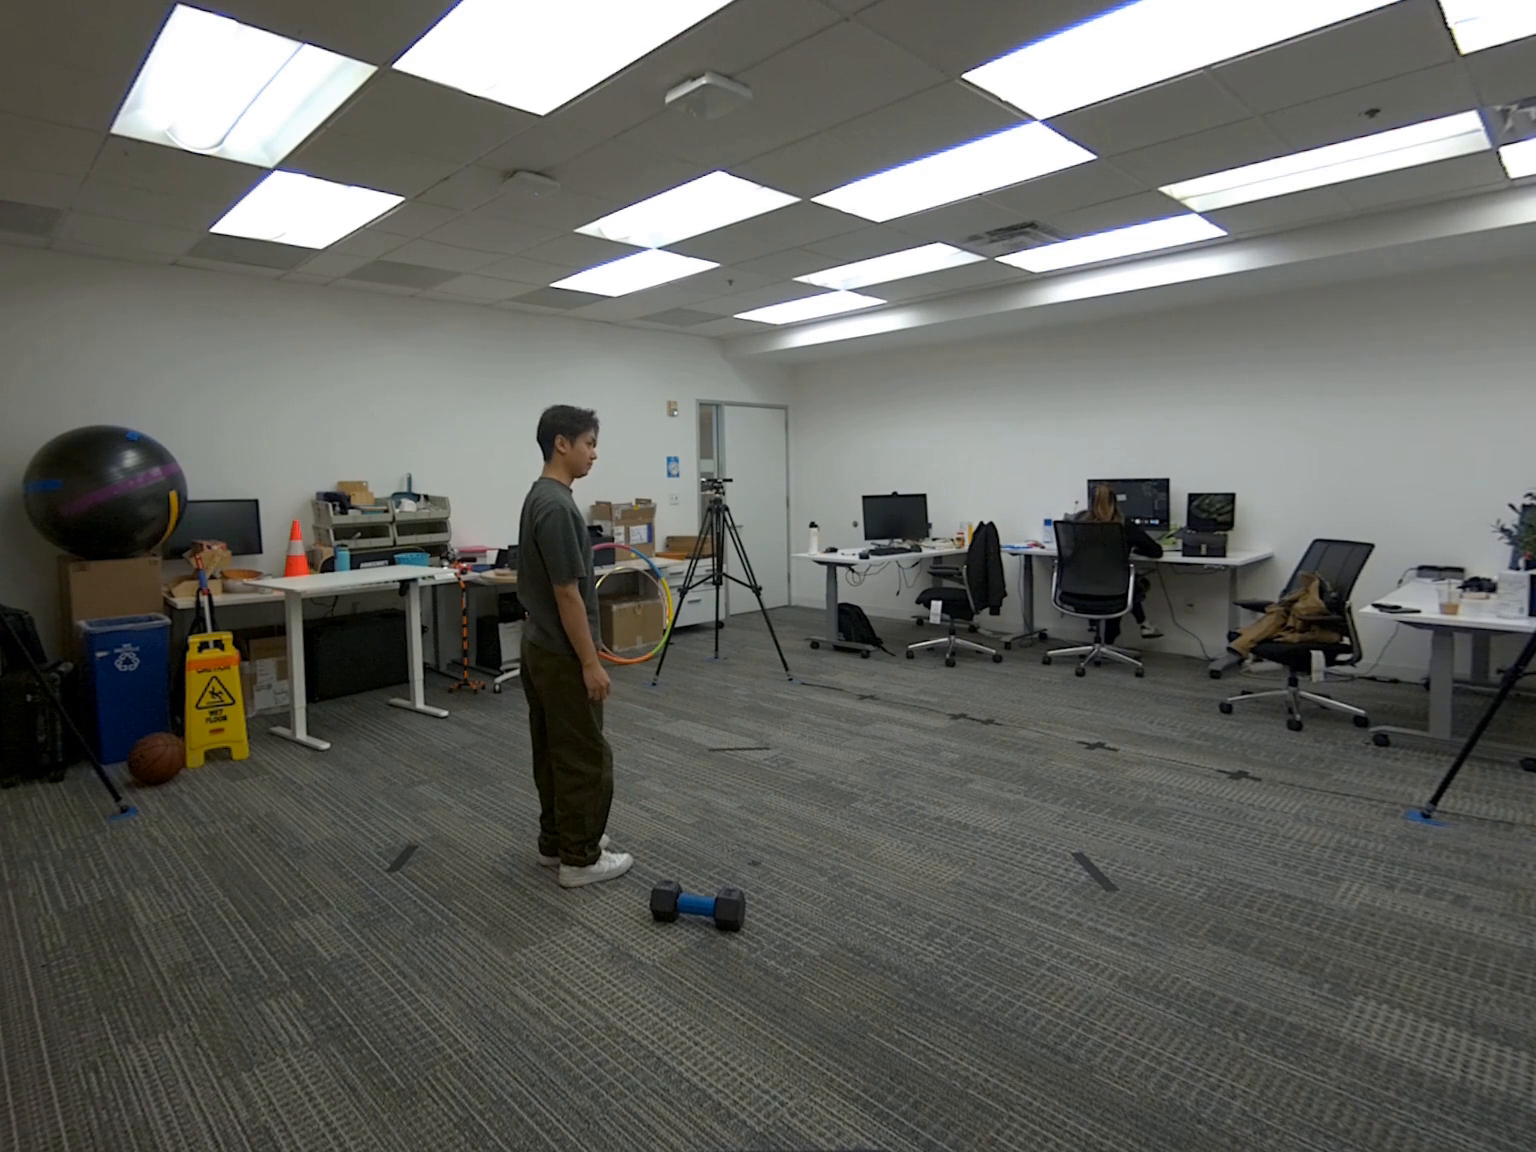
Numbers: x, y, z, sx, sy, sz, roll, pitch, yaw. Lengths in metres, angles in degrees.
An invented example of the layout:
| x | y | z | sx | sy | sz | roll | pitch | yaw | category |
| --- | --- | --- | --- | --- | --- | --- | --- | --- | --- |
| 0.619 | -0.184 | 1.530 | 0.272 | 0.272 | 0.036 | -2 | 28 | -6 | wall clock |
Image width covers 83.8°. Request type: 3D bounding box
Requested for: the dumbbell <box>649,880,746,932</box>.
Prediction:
| x | y | z | sx | sy | sz | roll | pitch | yaw | category |
| --- | --- | --- | --- | --- | --- | --- | --- | --- | --- |
| -0.215 | 1.039 | 2.702 | 0.298 | 0.108 | 0.121 | 2 | 4 | 16 | dumbbell |
